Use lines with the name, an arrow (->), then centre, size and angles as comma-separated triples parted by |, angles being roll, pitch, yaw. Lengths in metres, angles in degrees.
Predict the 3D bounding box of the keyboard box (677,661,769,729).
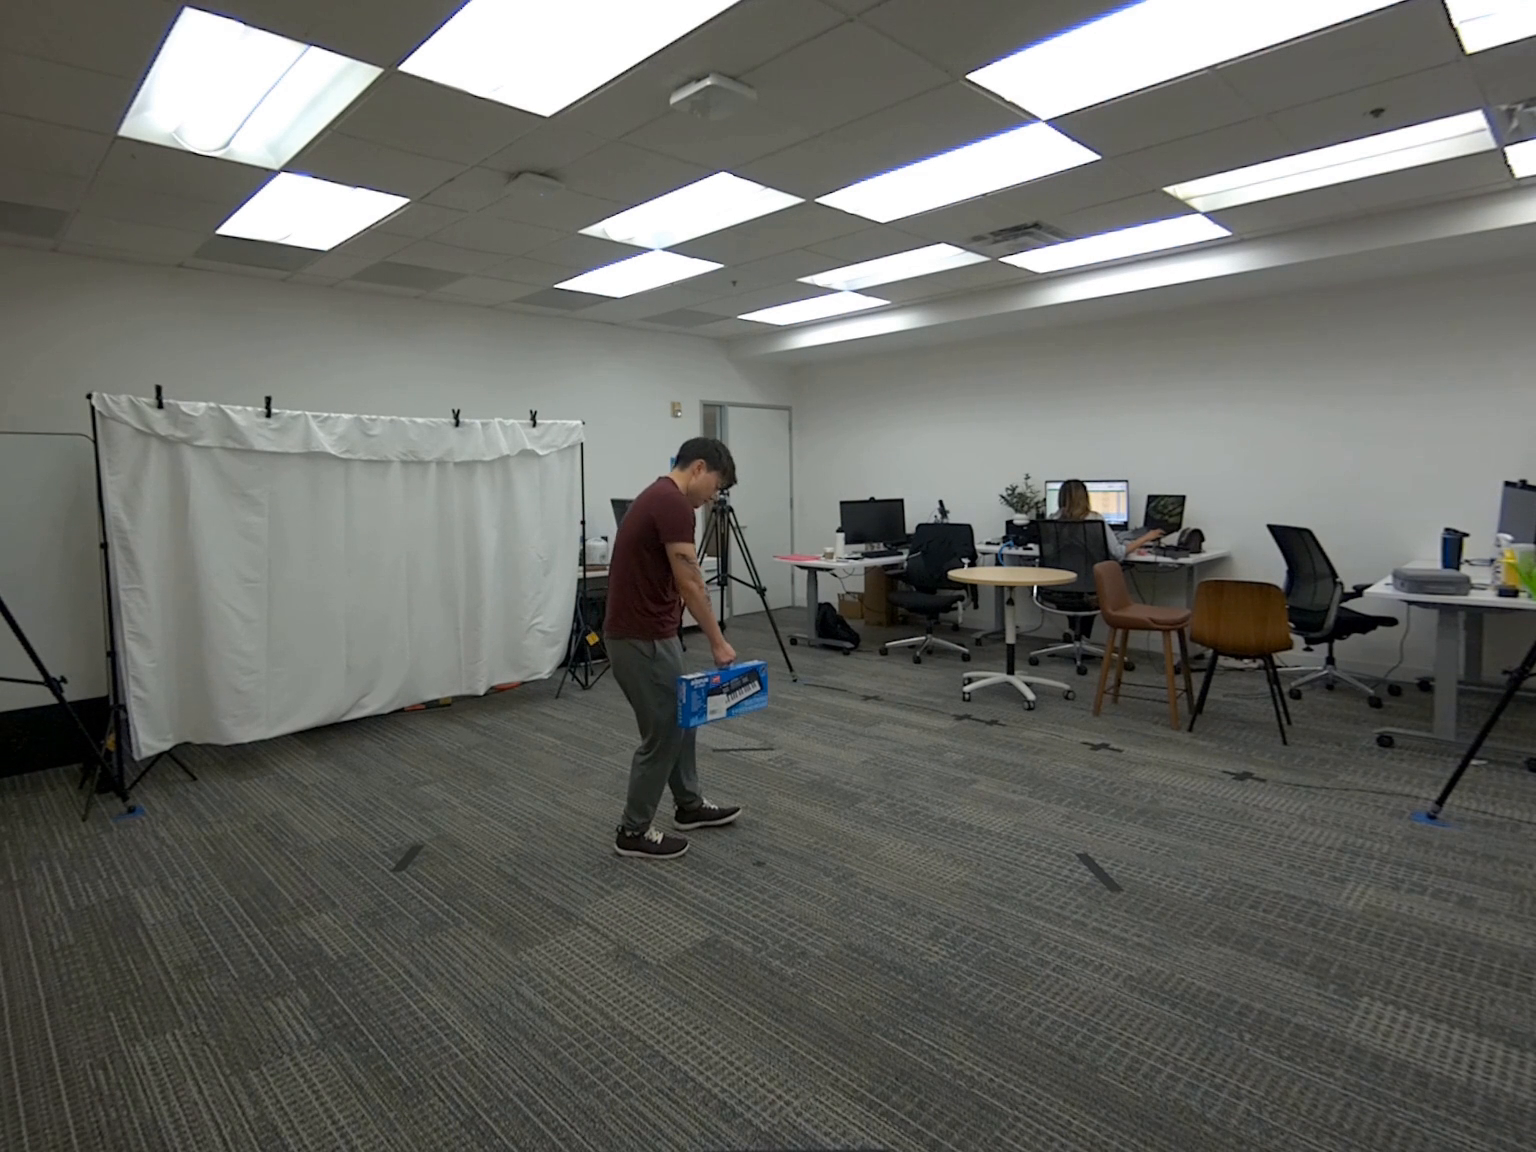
keyboard box -> -0.159, 0.432, 3.115 | 0.061, 0.175, 0.425 | 1, 4, 40
